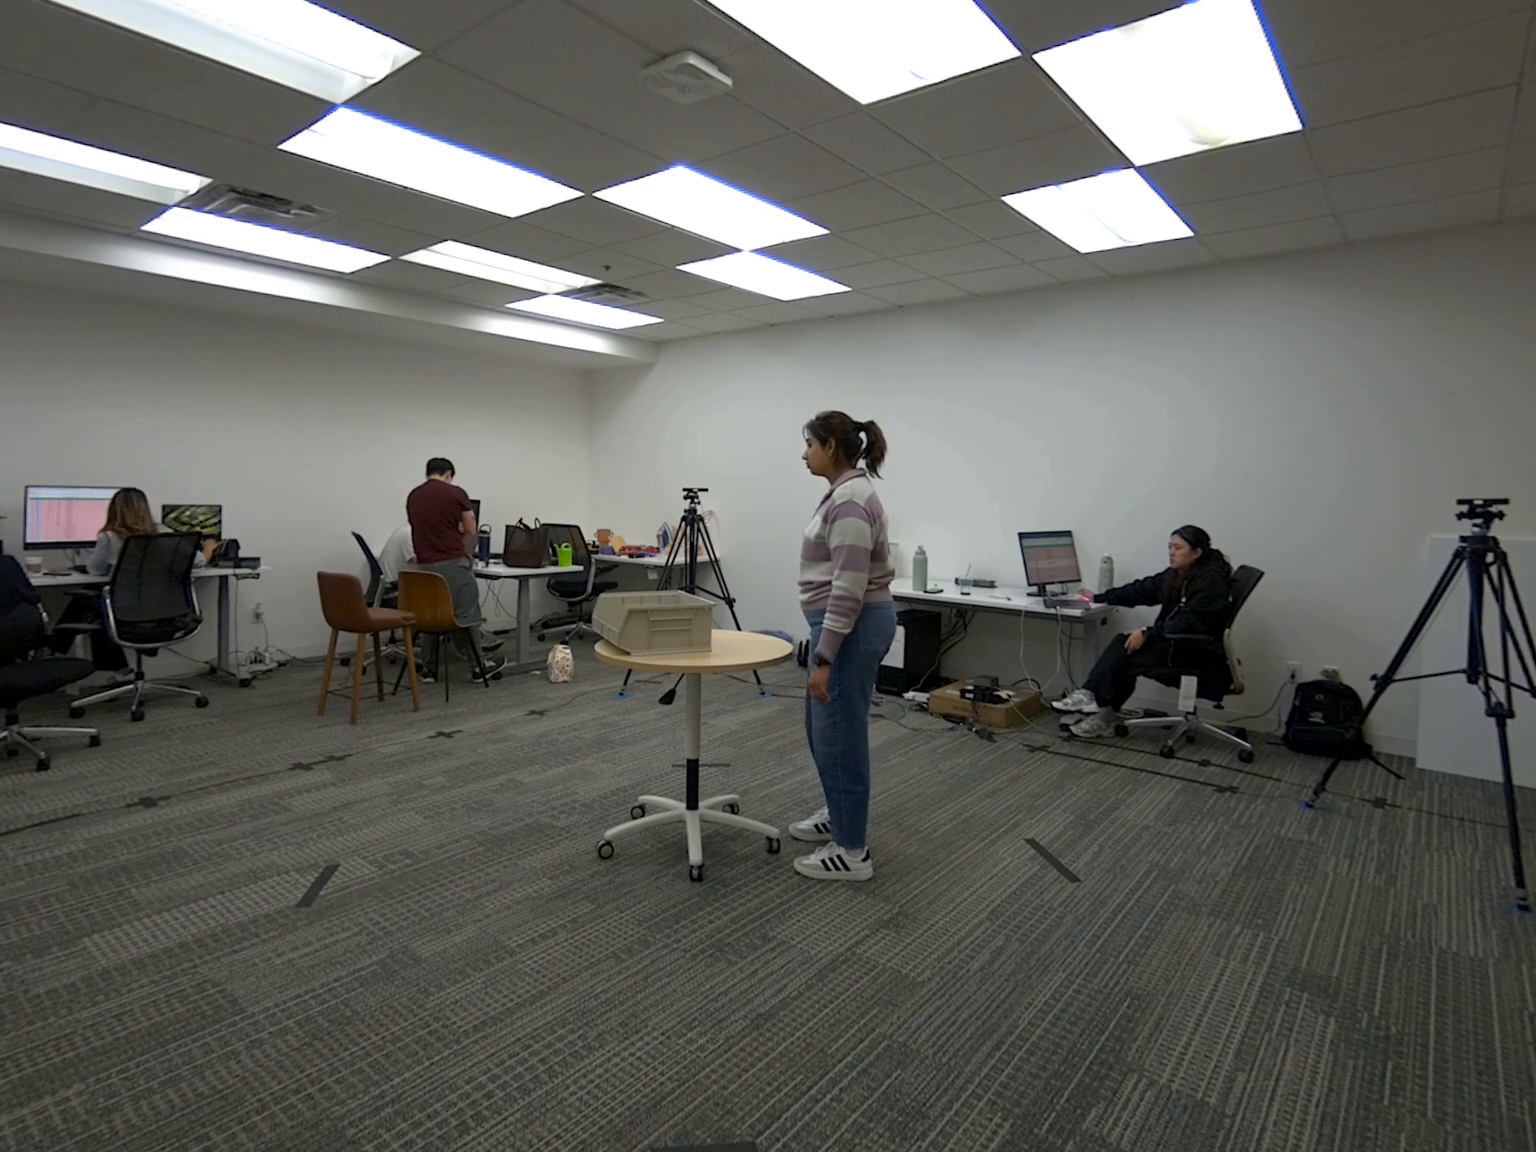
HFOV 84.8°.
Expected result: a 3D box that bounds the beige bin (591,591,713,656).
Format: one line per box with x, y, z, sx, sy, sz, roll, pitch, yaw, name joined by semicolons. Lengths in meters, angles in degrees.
-0.465;0.178;3.310;0.369;0.188;0.433;-1;5;-24;beige bin
